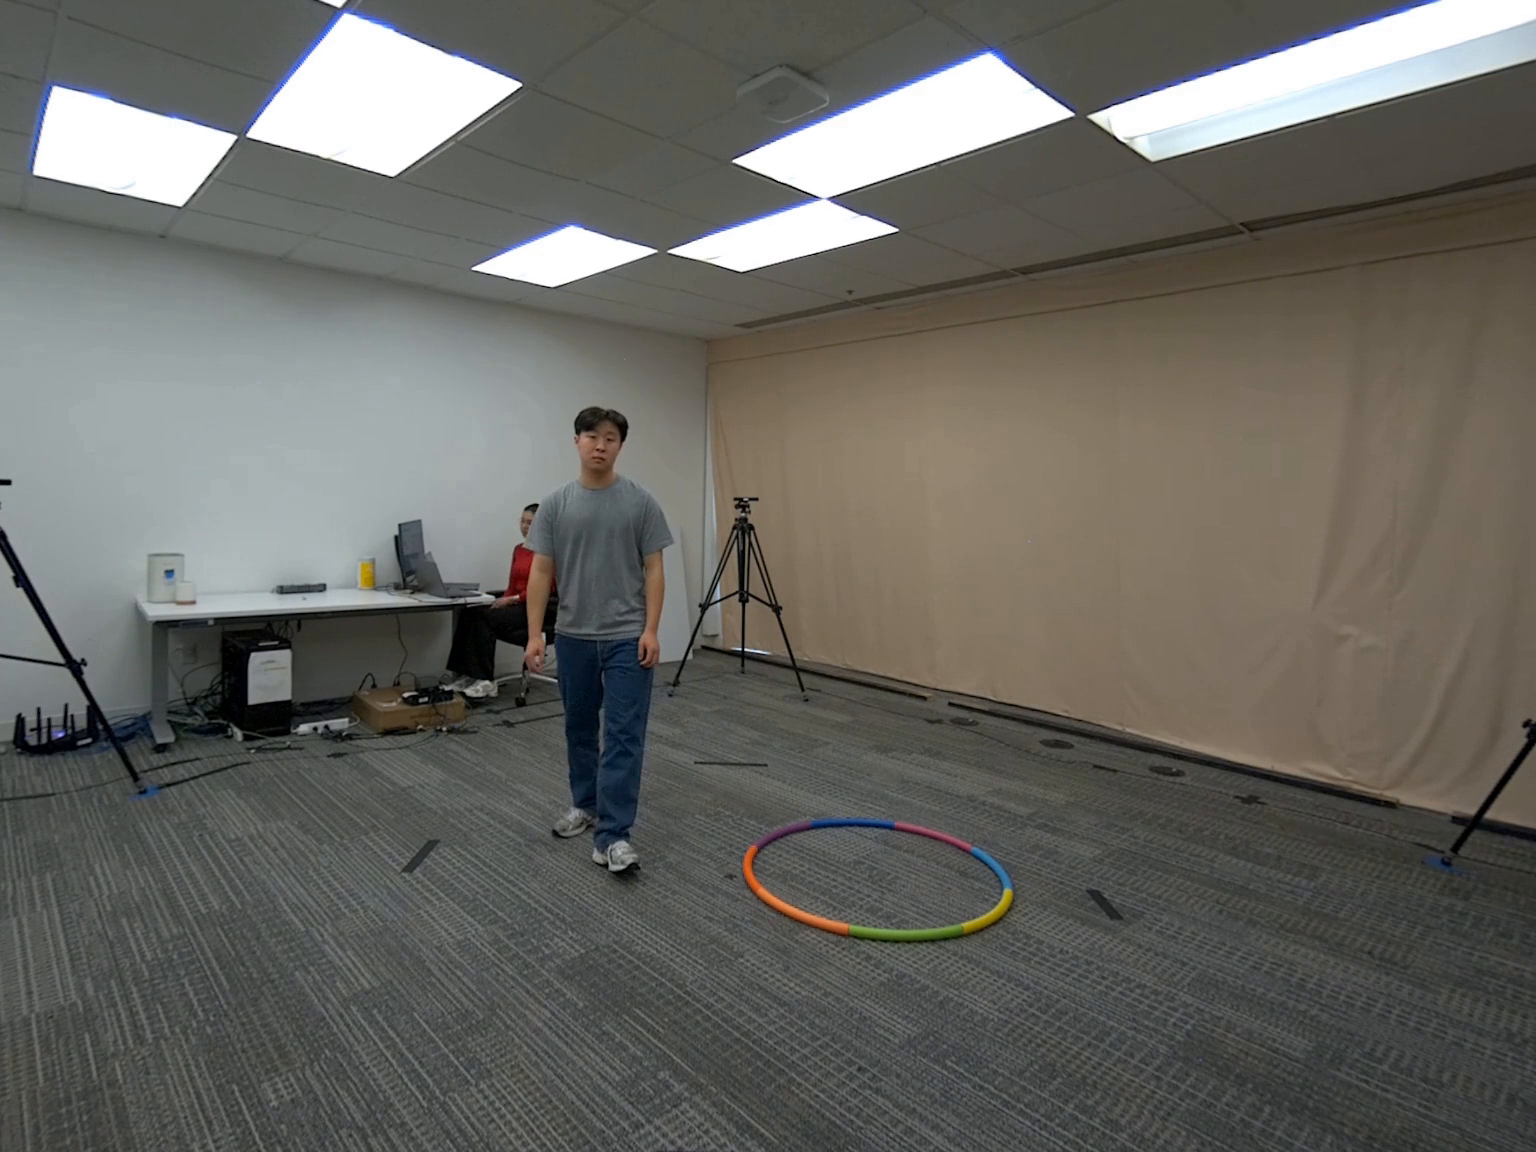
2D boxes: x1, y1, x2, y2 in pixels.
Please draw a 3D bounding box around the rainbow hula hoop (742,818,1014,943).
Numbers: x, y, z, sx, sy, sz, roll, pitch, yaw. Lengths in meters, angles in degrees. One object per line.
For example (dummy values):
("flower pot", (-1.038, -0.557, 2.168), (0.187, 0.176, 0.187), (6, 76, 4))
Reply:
("rainbow hula hoop", (0.380, 1.080, 3.156), (0.978, 0.035, 0.982), (1, 5, -1))
